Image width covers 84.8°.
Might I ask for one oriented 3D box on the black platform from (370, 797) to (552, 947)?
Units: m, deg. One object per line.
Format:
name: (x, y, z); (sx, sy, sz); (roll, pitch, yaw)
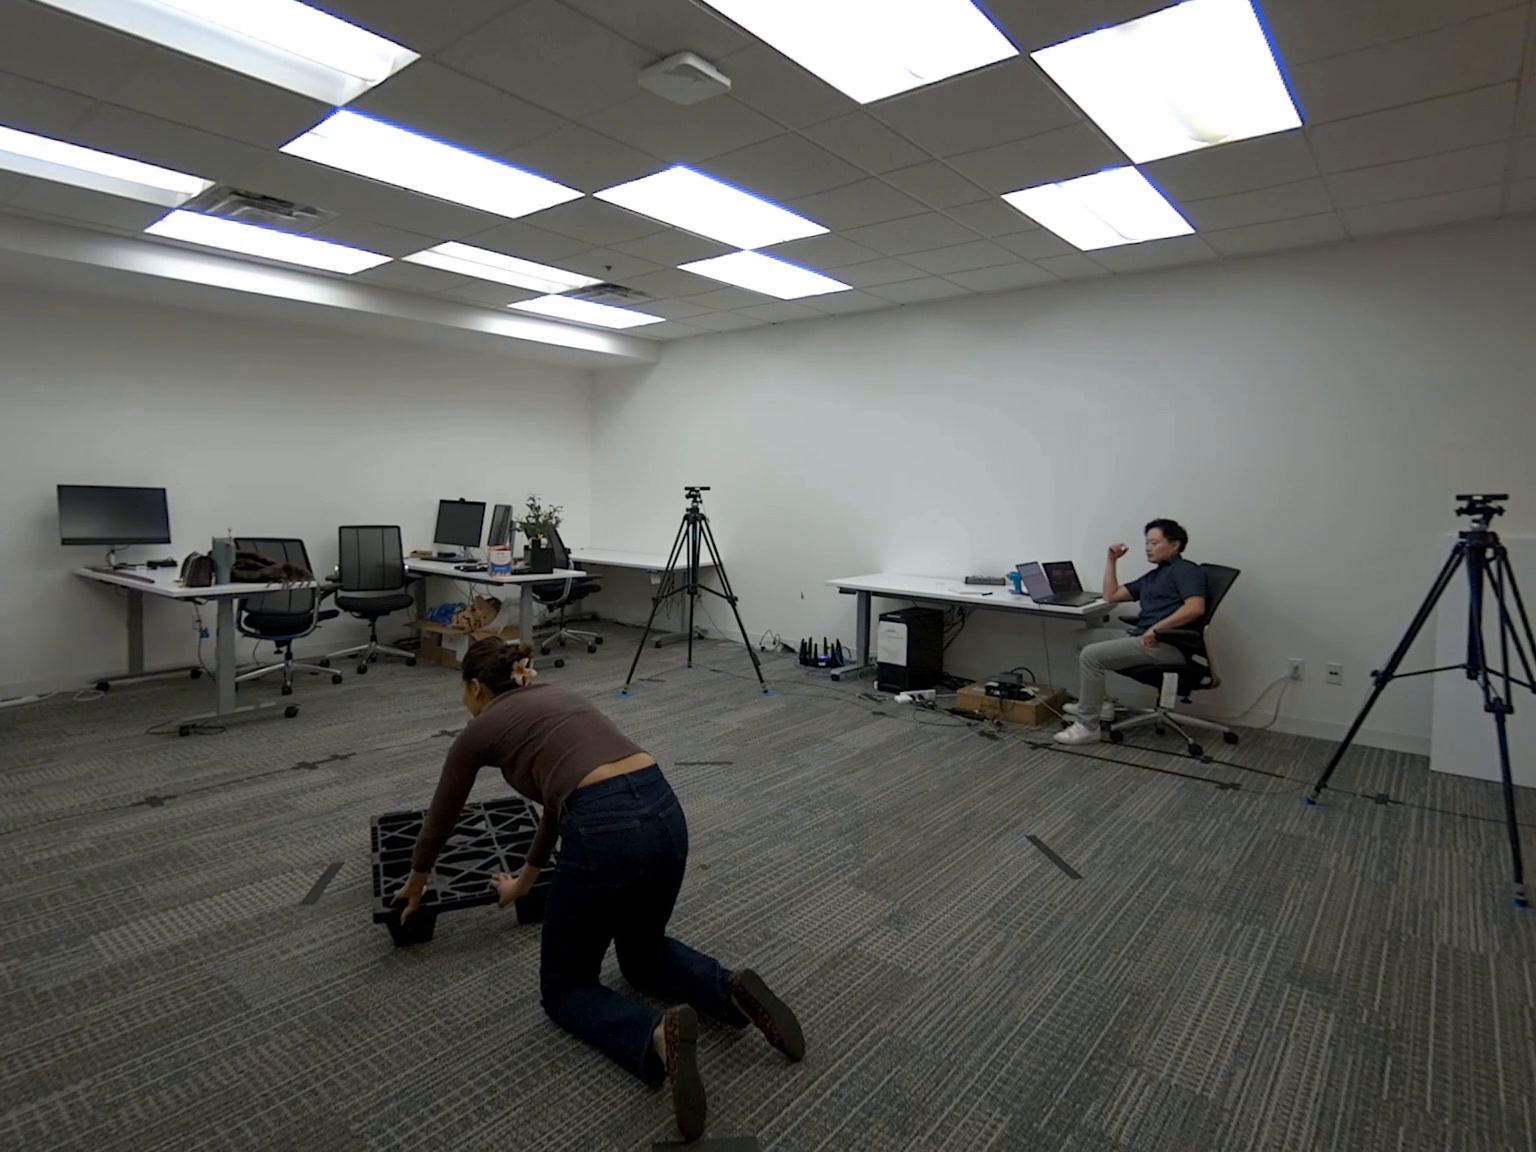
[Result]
black platform: (-1.077, 1.000, 2.972); (0.591, 0.143, 0.828); (-3, 7, -25)
